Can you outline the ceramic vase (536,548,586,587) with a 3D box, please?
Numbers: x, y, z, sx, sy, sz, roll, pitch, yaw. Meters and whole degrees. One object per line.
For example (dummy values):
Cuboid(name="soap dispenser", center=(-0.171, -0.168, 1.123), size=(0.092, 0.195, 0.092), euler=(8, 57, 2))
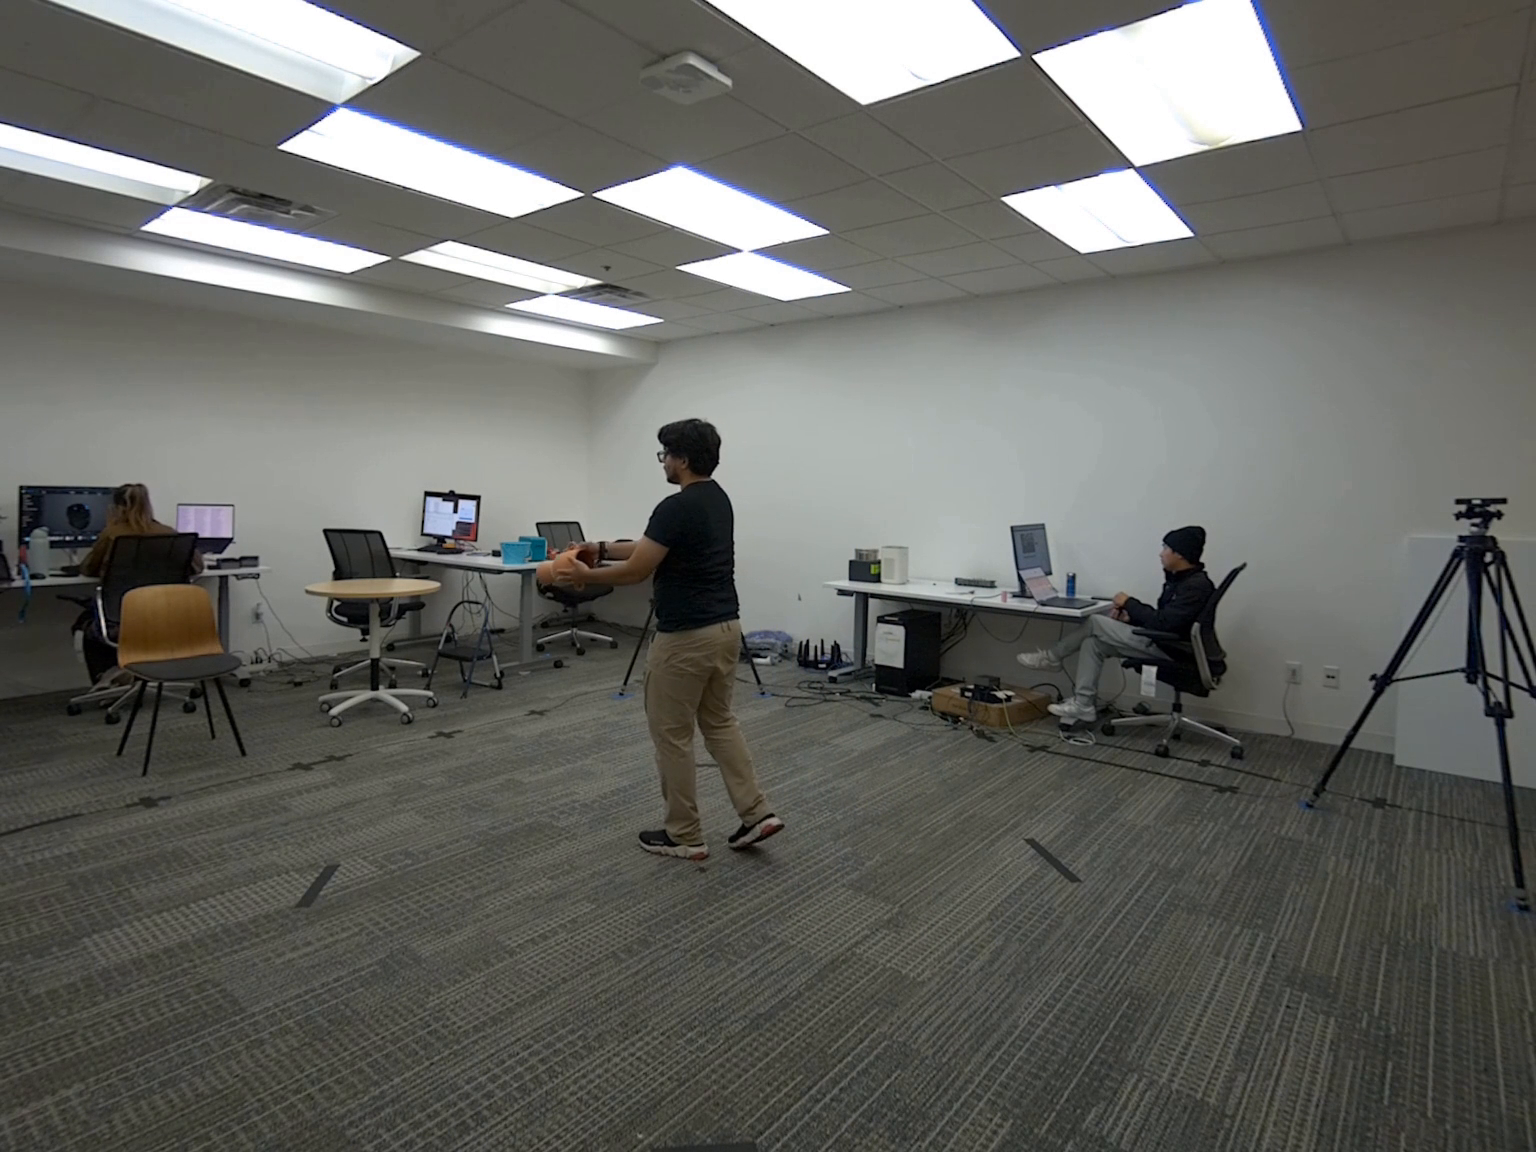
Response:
Cuboid(name="ceramic vase", center=(-0.837, -0.032, 3.434), size=(0.224, 0.129, 0.162), euler=(-12, 40, 25))
